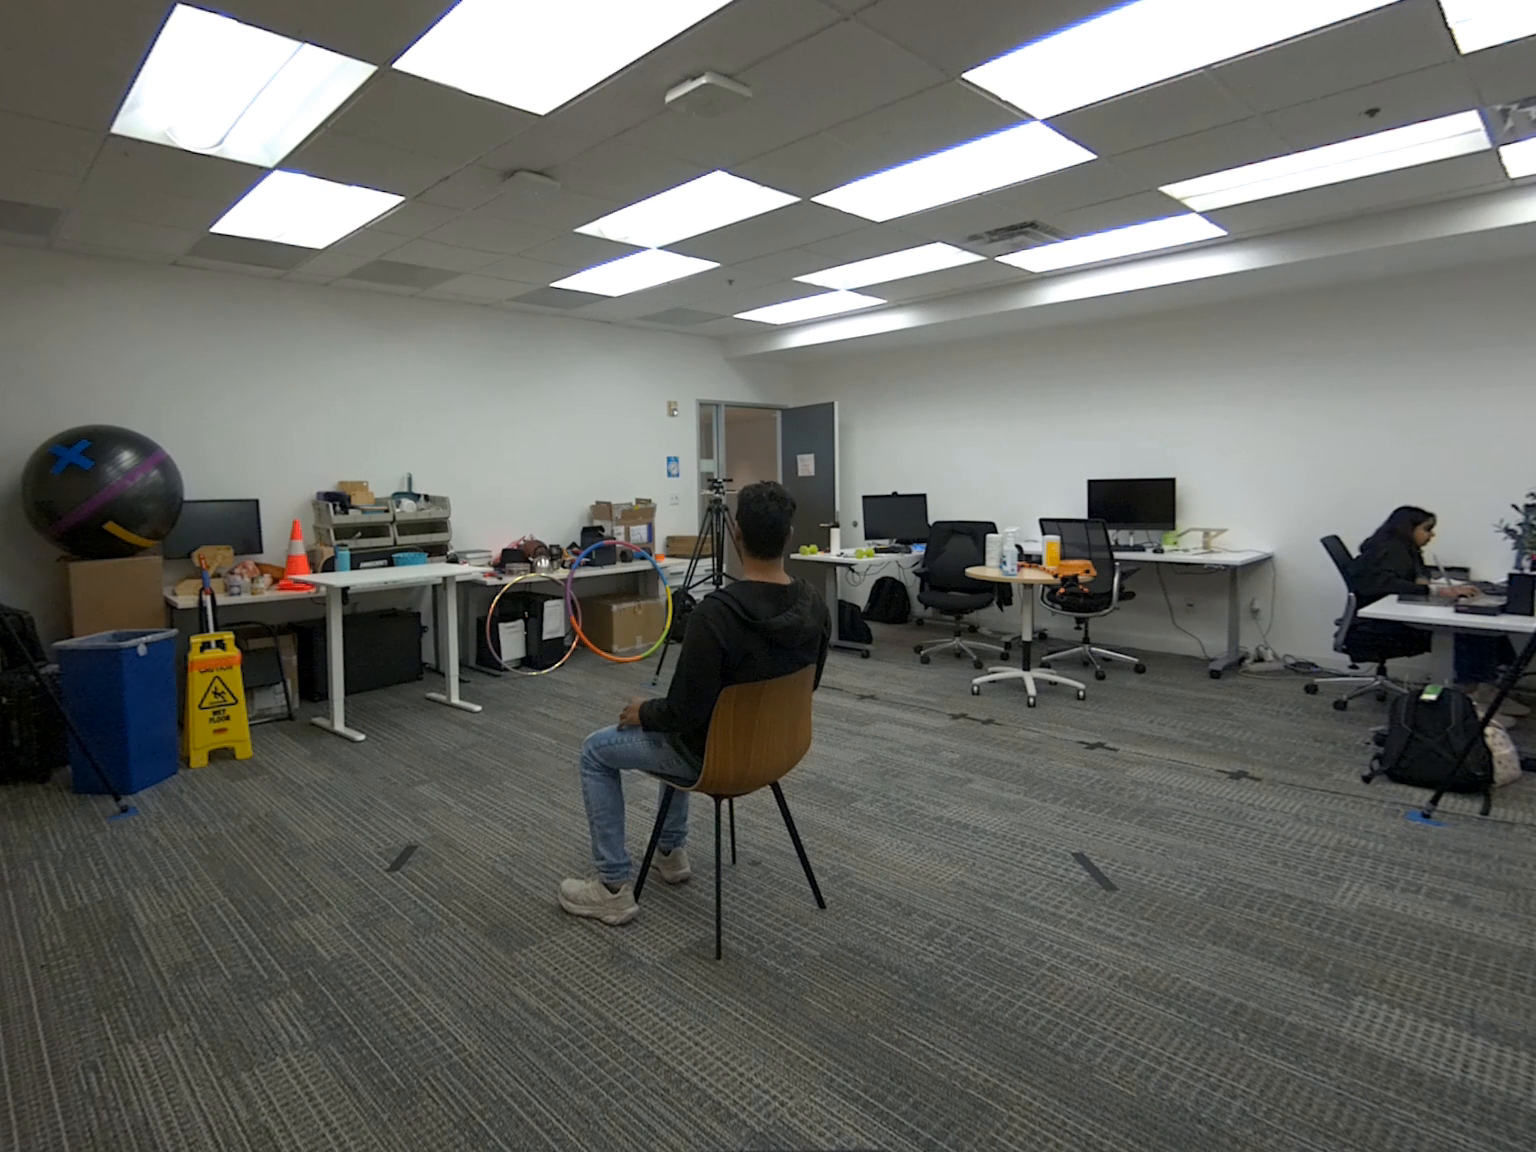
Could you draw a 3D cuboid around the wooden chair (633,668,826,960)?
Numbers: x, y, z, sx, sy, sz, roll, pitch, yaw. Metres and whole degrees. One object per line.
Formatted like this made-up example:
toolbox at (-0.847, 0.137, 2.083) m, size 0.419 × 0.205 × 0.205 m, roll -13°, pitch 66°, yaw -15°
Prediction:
wooden chair at (-0.138, 0.655, 2.775) m, size 0.466 × 0.871 × 0.541 m, roll -5°, pitch 11°, yaw -41°
